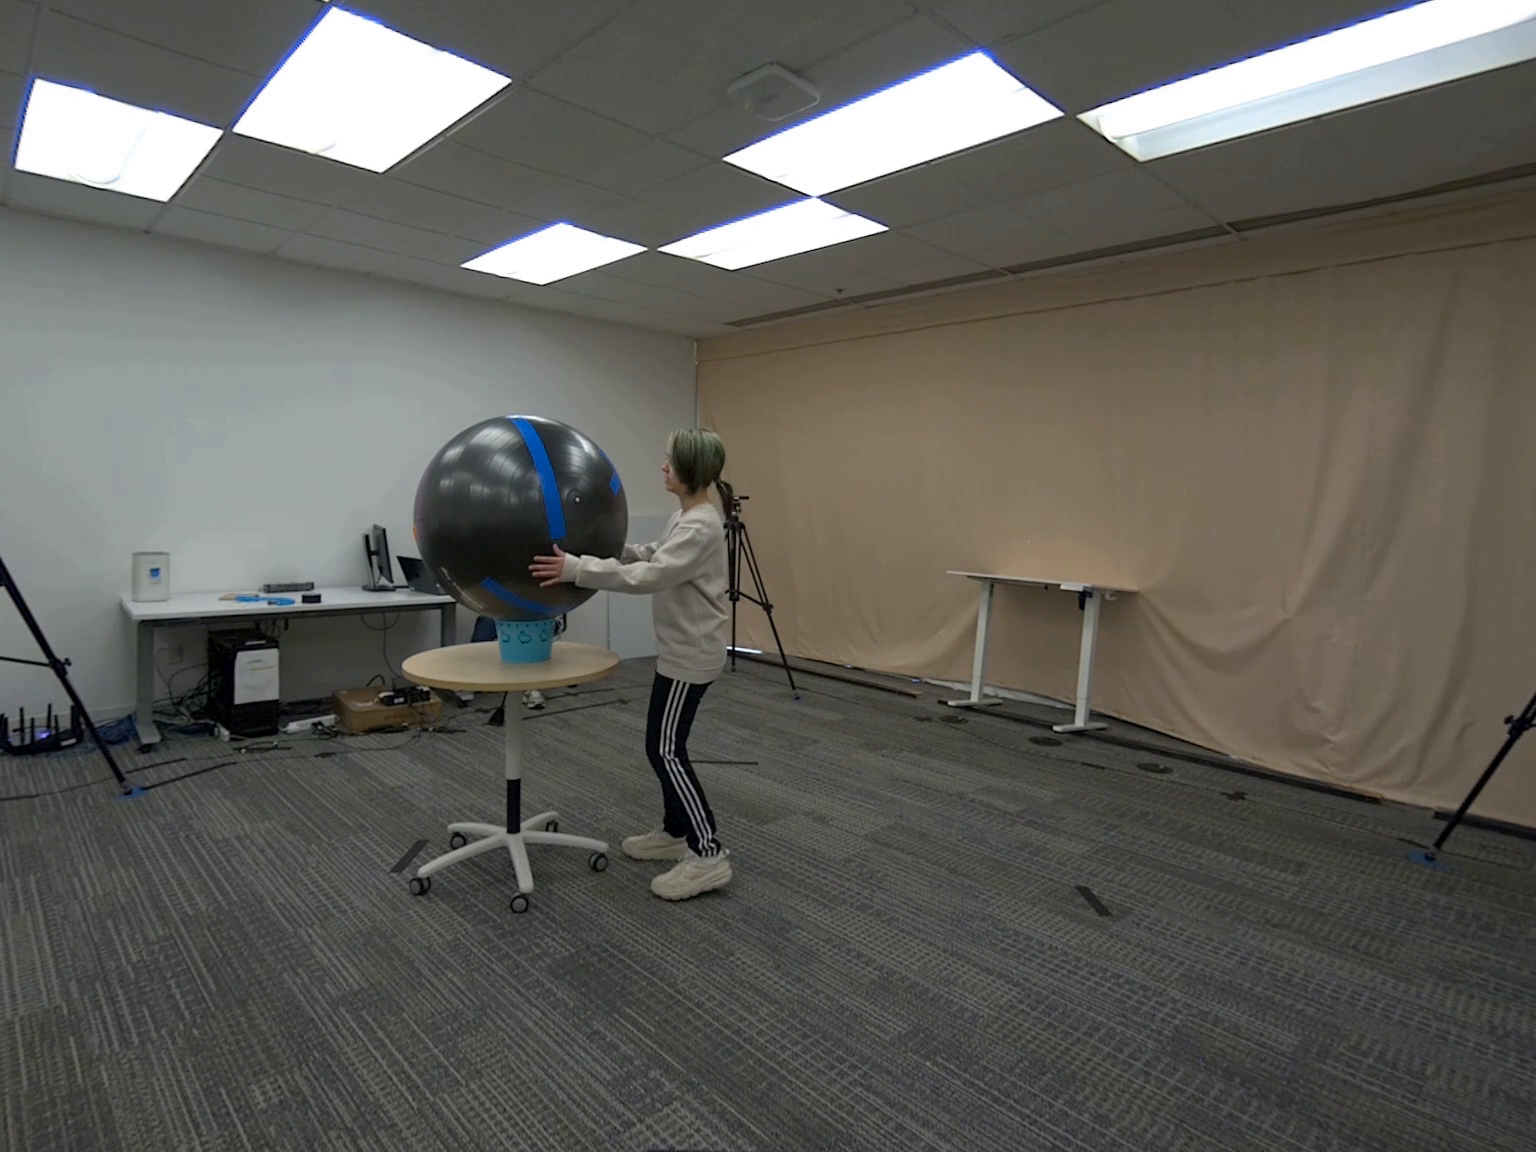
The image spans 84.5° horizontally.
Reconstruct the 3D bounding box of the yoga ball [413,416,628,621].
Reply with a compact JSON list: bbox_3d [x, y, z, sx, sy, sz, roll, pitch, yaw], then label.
[{"bbox_3d":[-0.905,-0.206,3.083,0.757,0.756,0.761,1,4,-1],"label":"yoga ball"}]
